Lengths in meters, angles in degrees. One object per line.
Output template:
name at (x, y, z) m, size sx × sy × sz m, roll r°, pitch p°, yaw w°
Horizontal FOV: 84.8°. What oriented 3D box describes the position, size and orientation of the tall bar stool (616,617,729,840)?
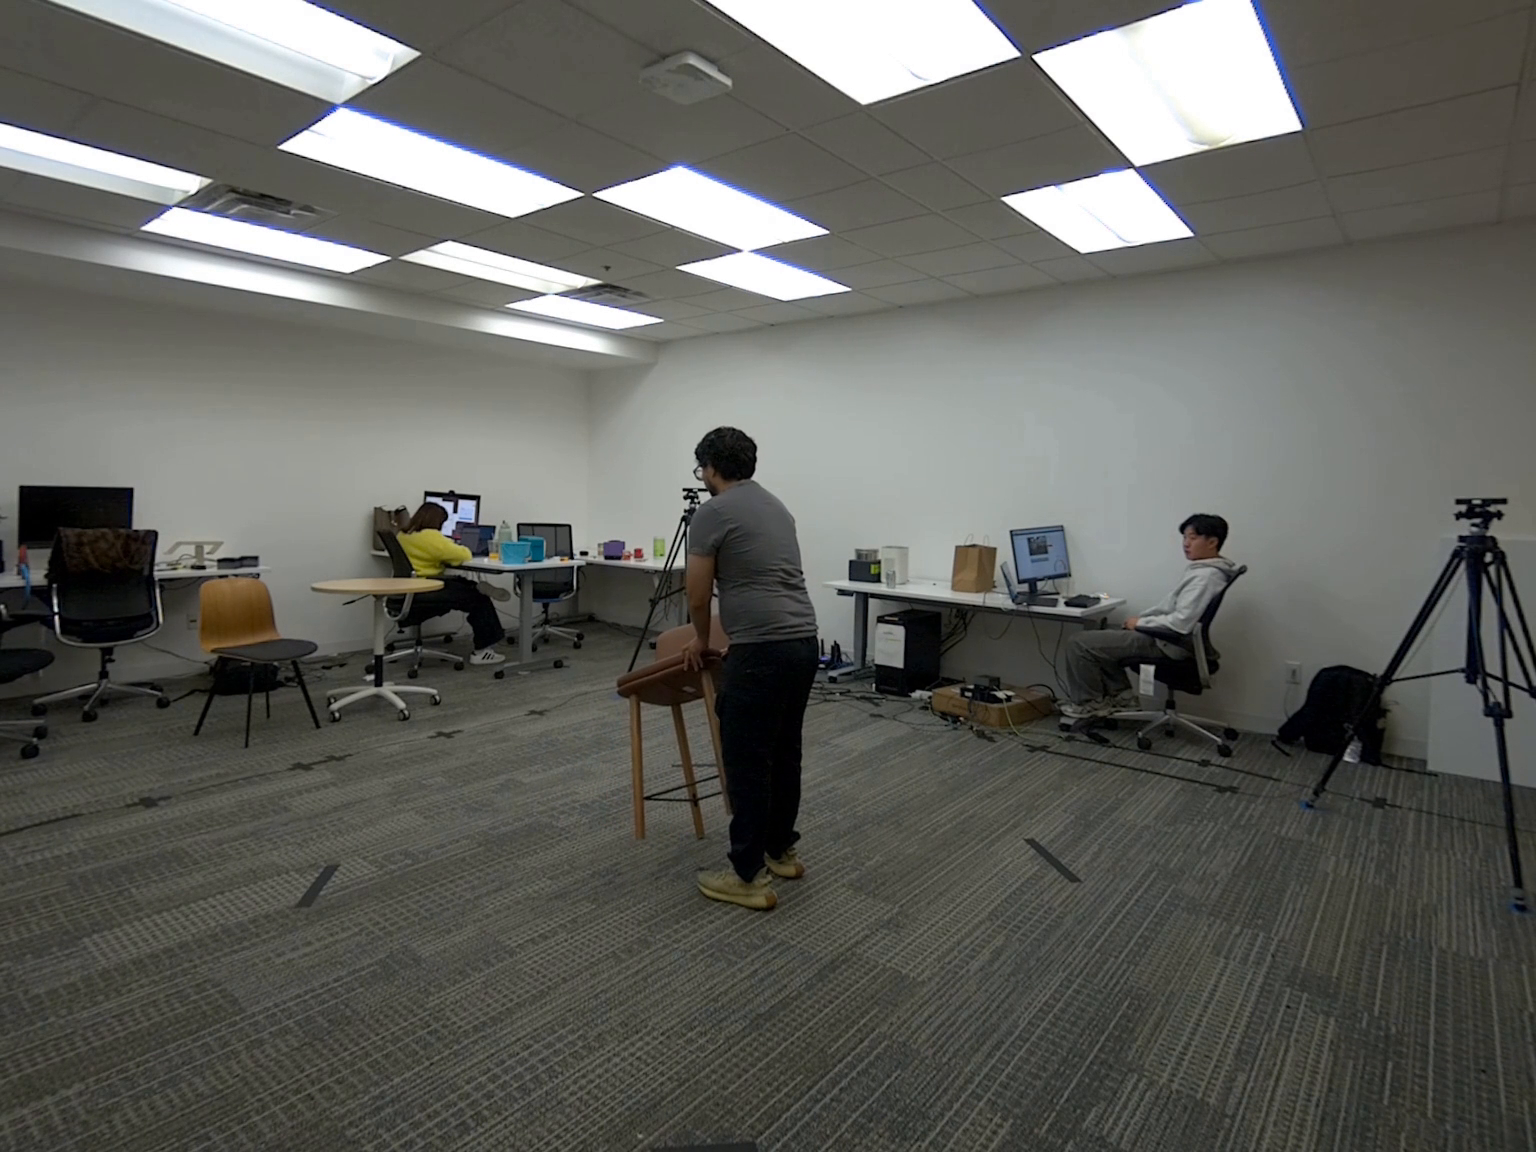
tall bar stool at (-0.312, 0.534, 3.337) m, size 0.462 × 0.914 × 0.449 m, roll -23°, pitch -26°, yaw 21°
